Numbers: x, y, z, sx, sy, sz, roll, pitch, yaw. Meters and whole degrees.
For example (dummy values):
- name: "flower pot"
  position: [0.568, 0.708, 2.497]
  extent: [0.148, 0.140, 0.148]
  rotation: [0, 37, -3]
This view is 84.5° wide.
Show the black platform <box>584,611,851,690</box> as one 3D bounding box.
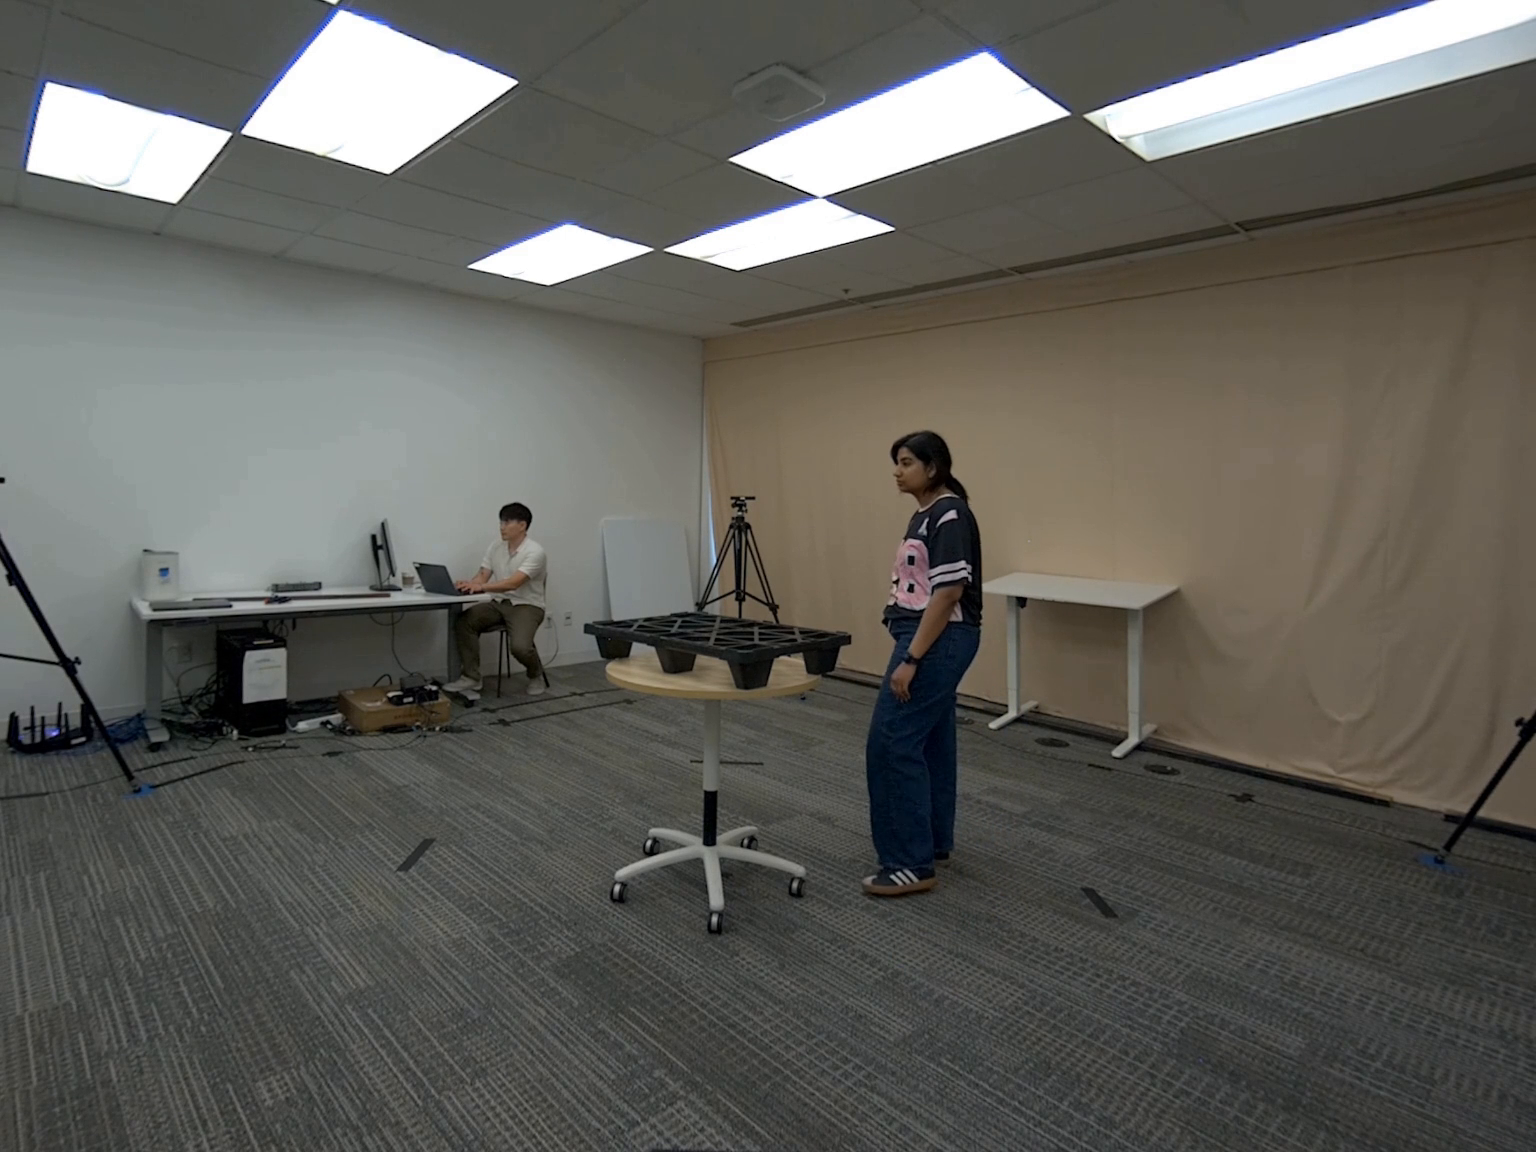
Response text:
- name: "black platform"
  position: [-0.200, 0.258, 3.064]
  extent: [0.826, 0.143, 0.591]
  rotation: [7, 7, 42]
